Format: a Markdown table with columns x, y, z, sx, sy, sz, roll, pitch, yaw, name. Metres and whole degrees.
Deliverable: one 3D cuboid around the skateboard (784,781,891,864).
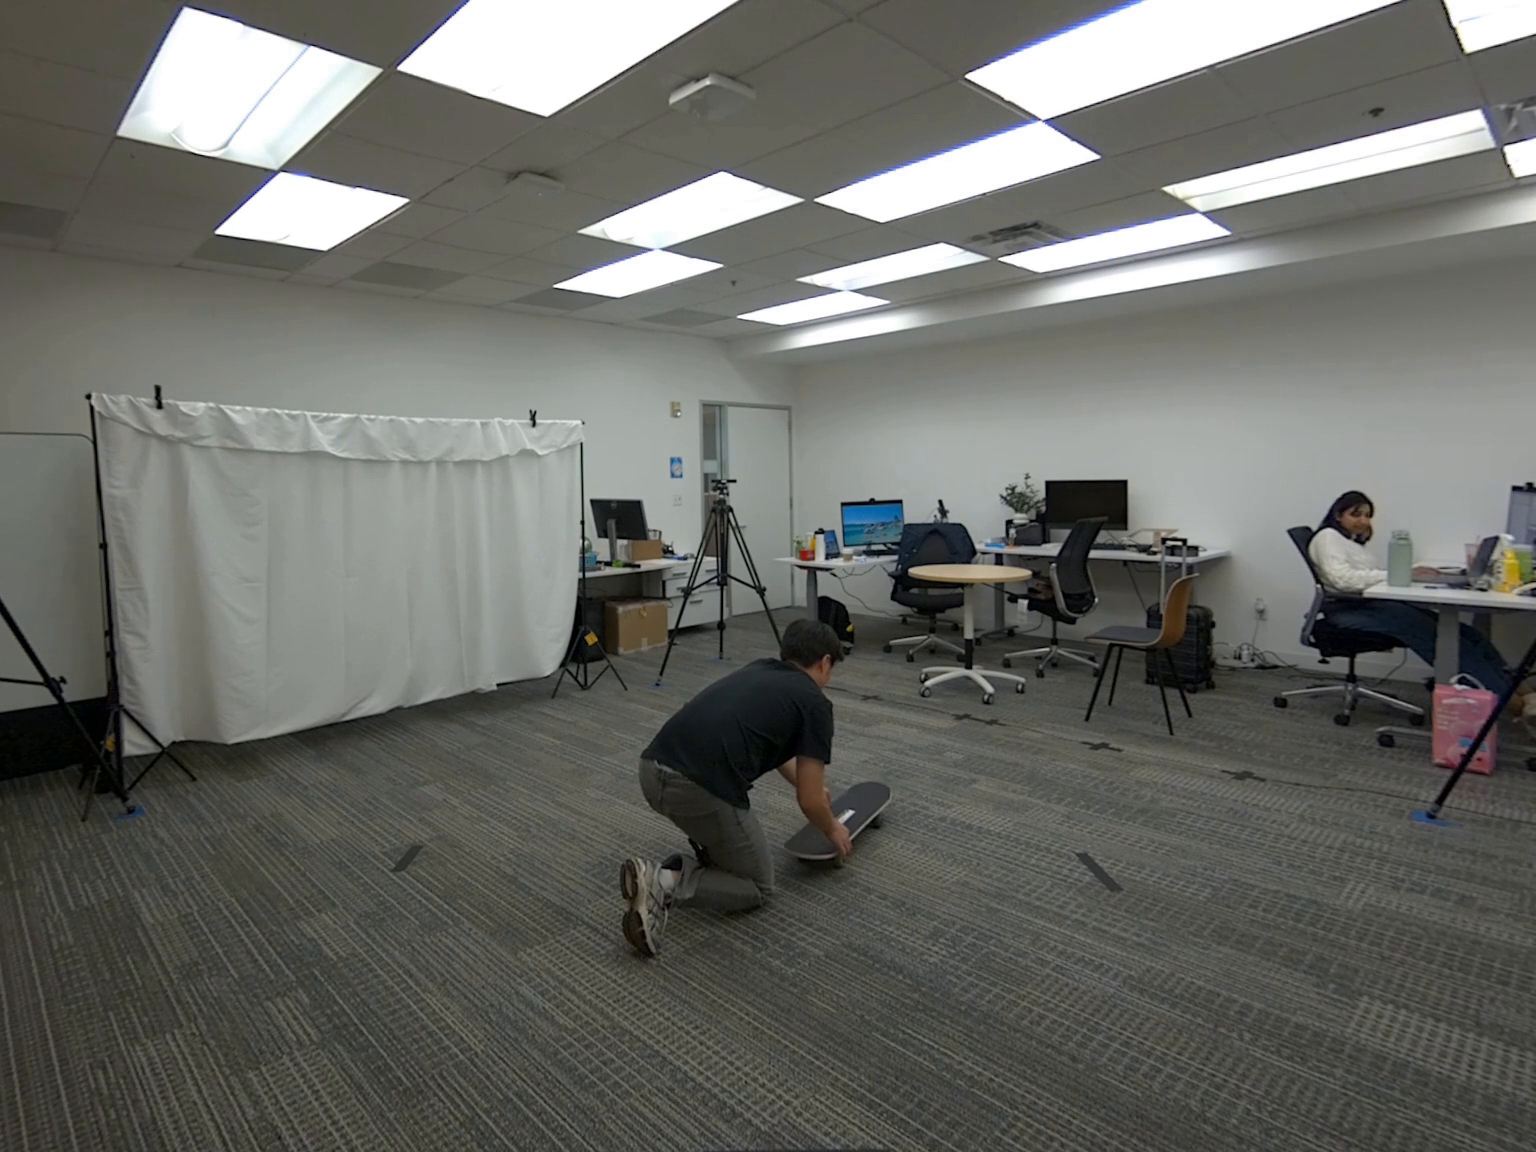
| x | y | z | sx | sy | sz | roll | pitch | yaw | name |
| --- | --- | --- | --- | --- | --- | --- | --- | --- | --- |
| 0.281 | 0.960 | 3.280 | 0.198 | 0.110 | 0.770 | 1 | 7 | 27 | skateboard |
